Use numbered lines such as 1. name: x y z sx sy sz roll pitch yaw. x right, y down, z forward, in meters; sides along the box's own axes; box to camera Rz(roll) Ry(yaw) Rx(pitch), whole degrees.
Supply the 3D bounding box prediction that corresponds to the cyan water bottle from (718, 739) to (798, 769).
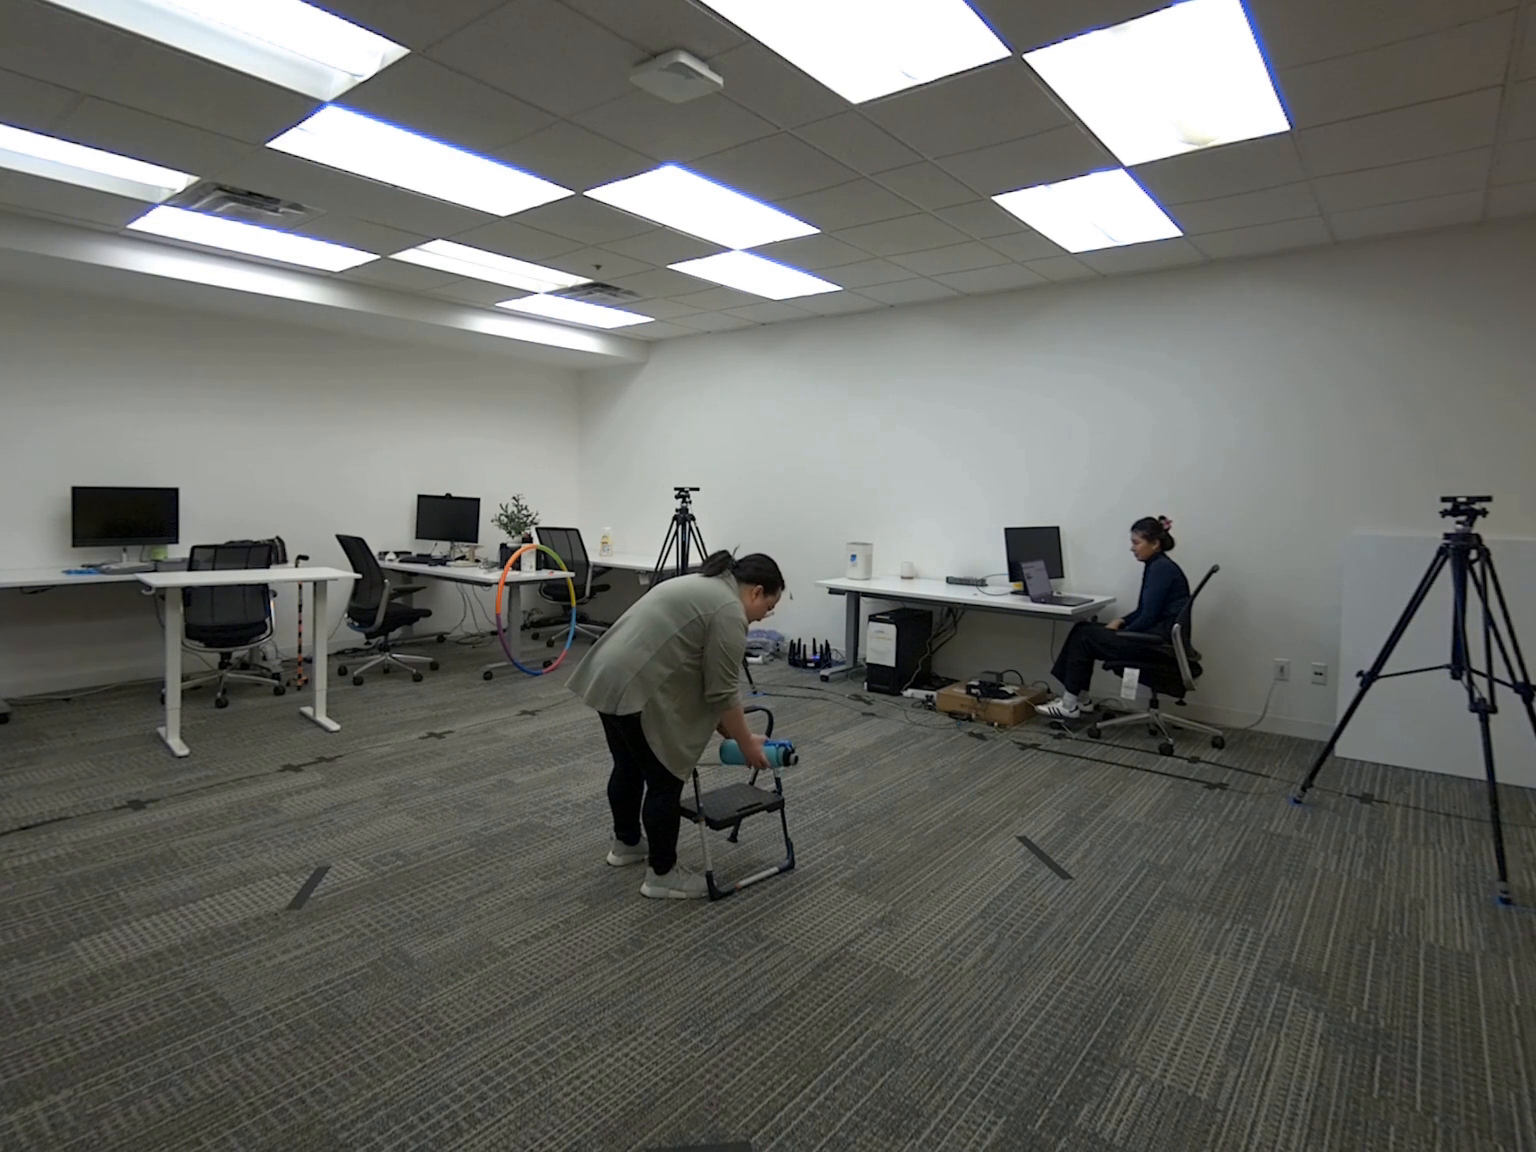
1. cyan water bottle: -0.041 0.610 2.965 0.290 0.092 0.090 -7 0 29
